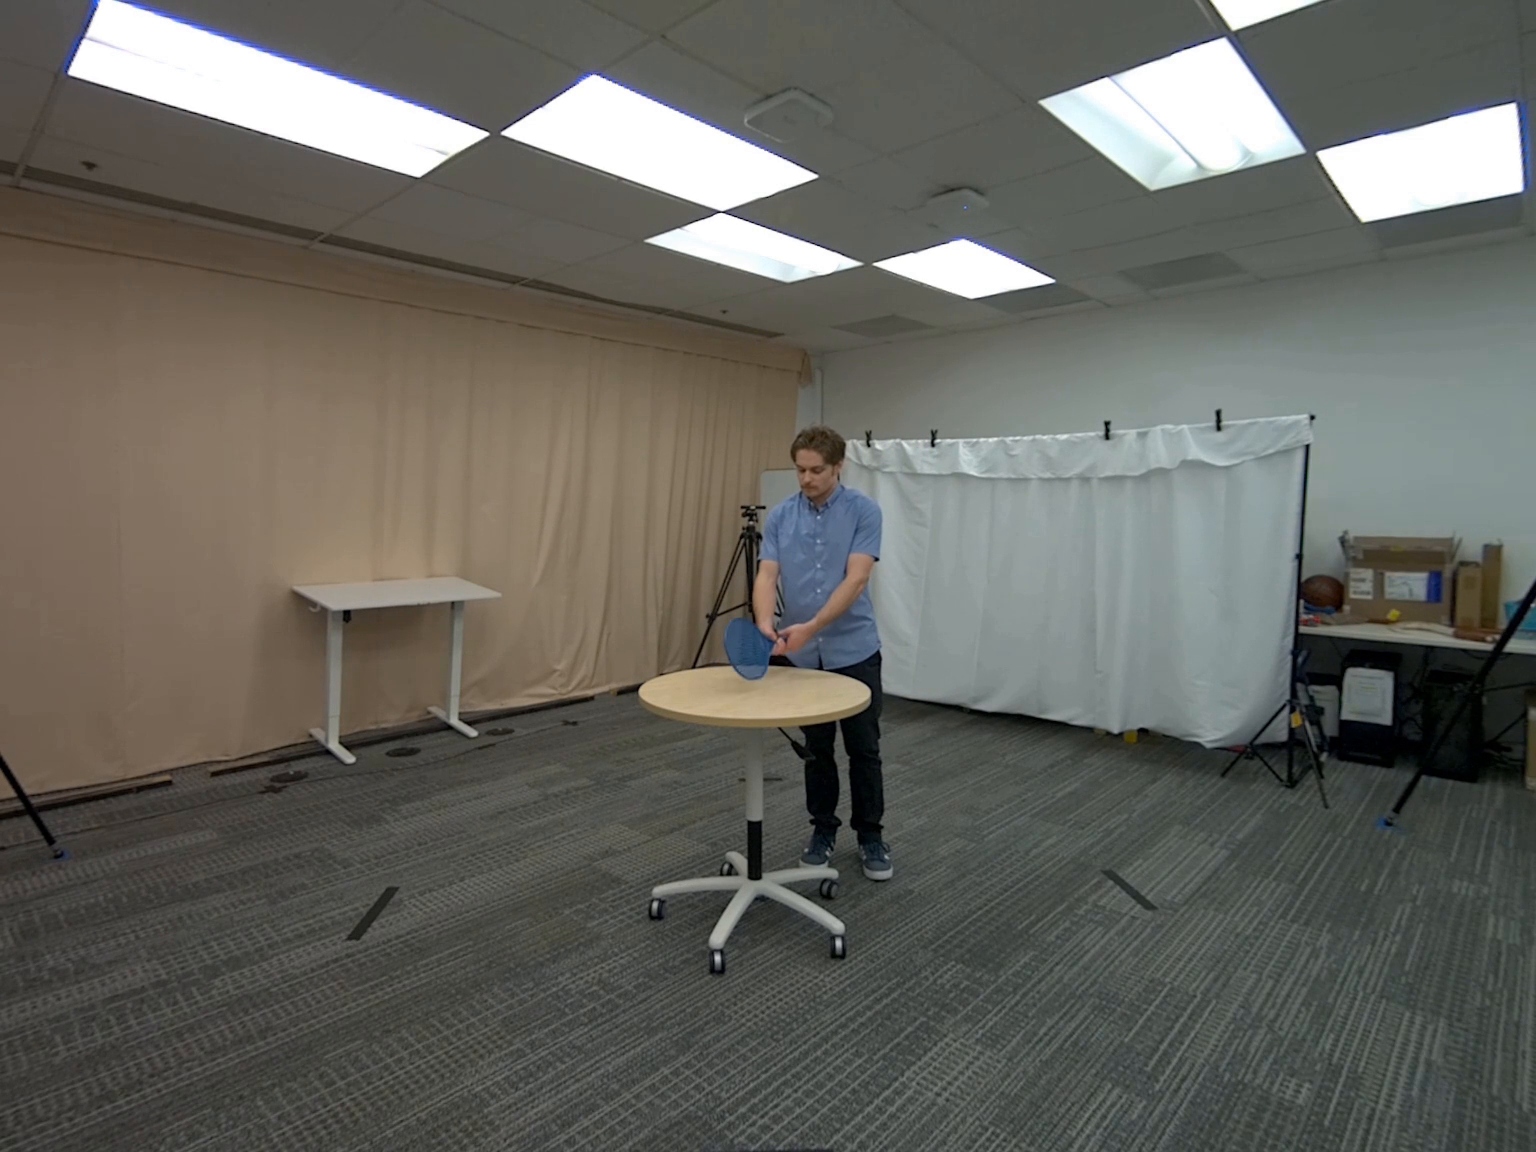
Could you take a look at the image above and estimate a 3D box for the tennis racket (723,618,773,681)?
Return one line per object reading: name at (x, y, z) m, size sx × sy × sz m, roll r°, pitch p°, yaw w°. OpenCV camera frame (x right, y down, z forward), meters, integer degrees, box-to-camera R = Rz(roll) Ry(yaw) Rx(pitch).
tennis racket at (-0.018, 0.250, 2.827) m, size 0.032 × 0.216 × 0.419 m, roll -15°, pitch -18°, yaw 24°
